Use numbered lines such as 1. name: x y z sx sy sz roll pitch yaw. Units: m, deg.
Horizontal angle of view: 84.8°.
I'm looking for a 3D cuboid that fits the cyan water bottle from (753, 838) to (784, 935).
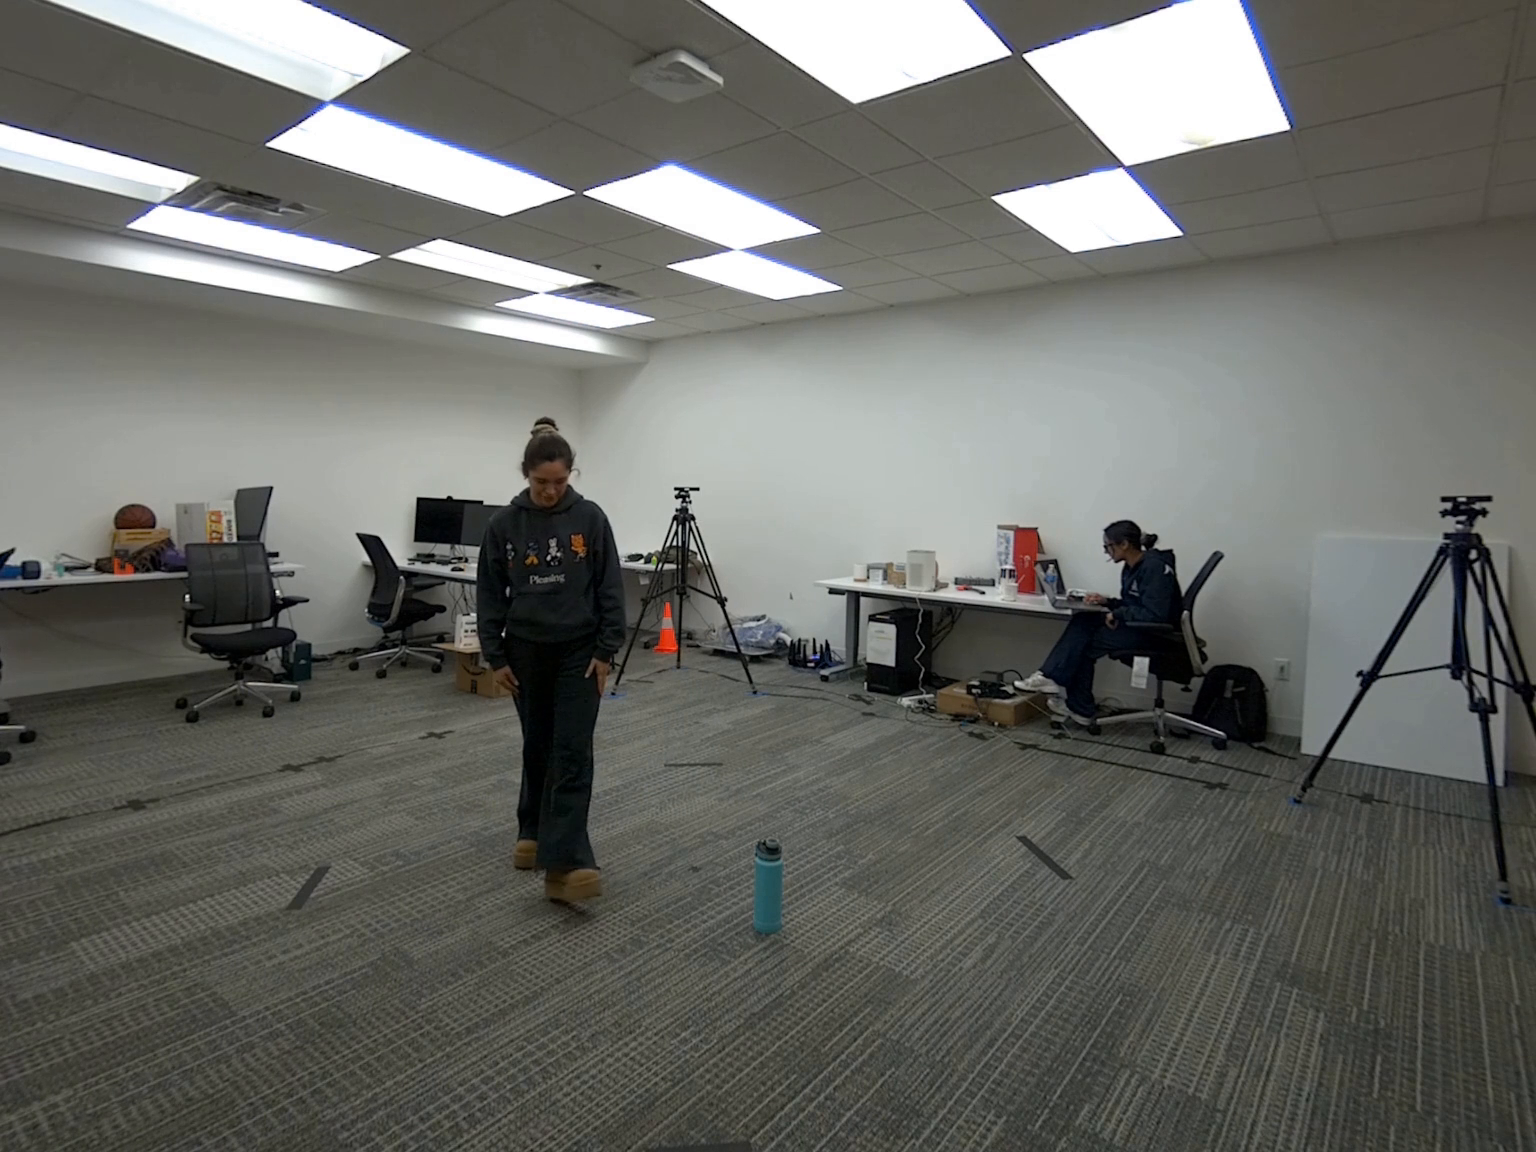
1. cyan water bottle: 0.004 0.970 2.693 0.092 0.283 0.092 0 2 -2
